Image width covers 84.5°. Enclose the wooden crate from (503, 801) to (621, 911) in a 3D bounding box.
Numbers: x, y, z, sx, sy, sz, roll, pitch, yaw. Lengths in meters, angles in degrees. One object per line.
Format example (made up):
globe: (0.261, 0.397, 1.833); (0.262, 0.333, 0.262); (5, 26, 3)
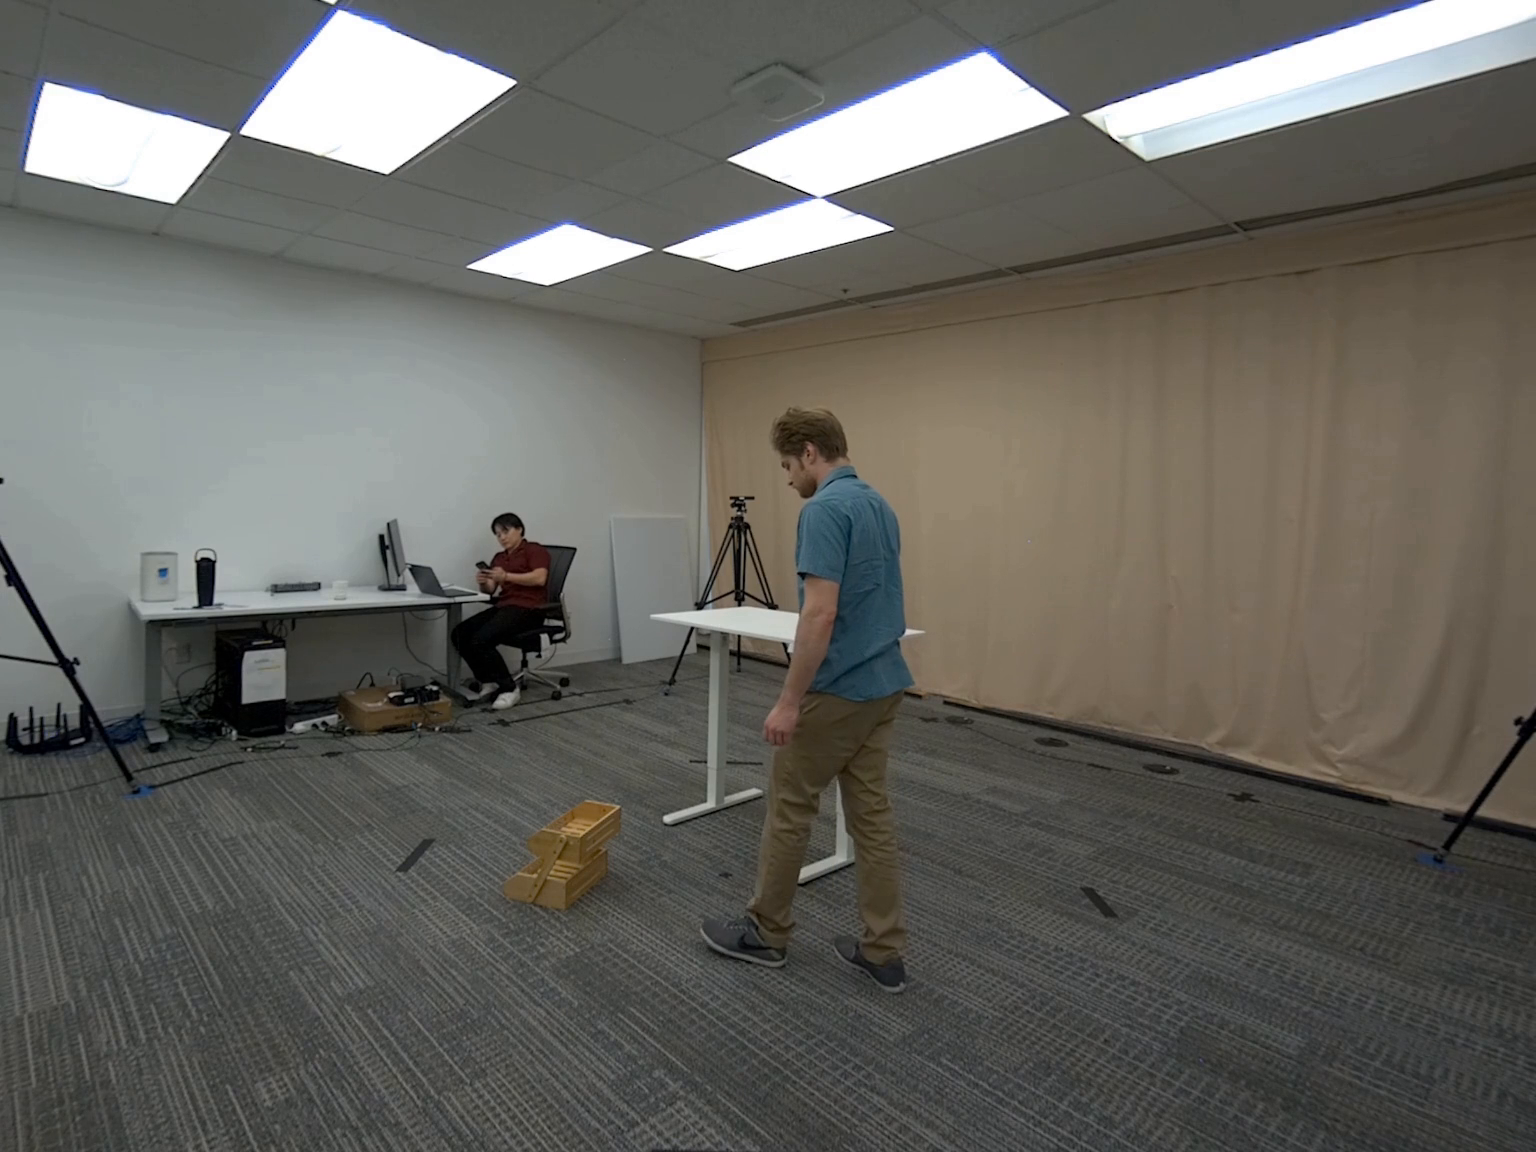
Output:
wooden crate: (-0.738, 0.971, 2.977); (0.306, 0.272, 0.320); (4, 5, 18)
